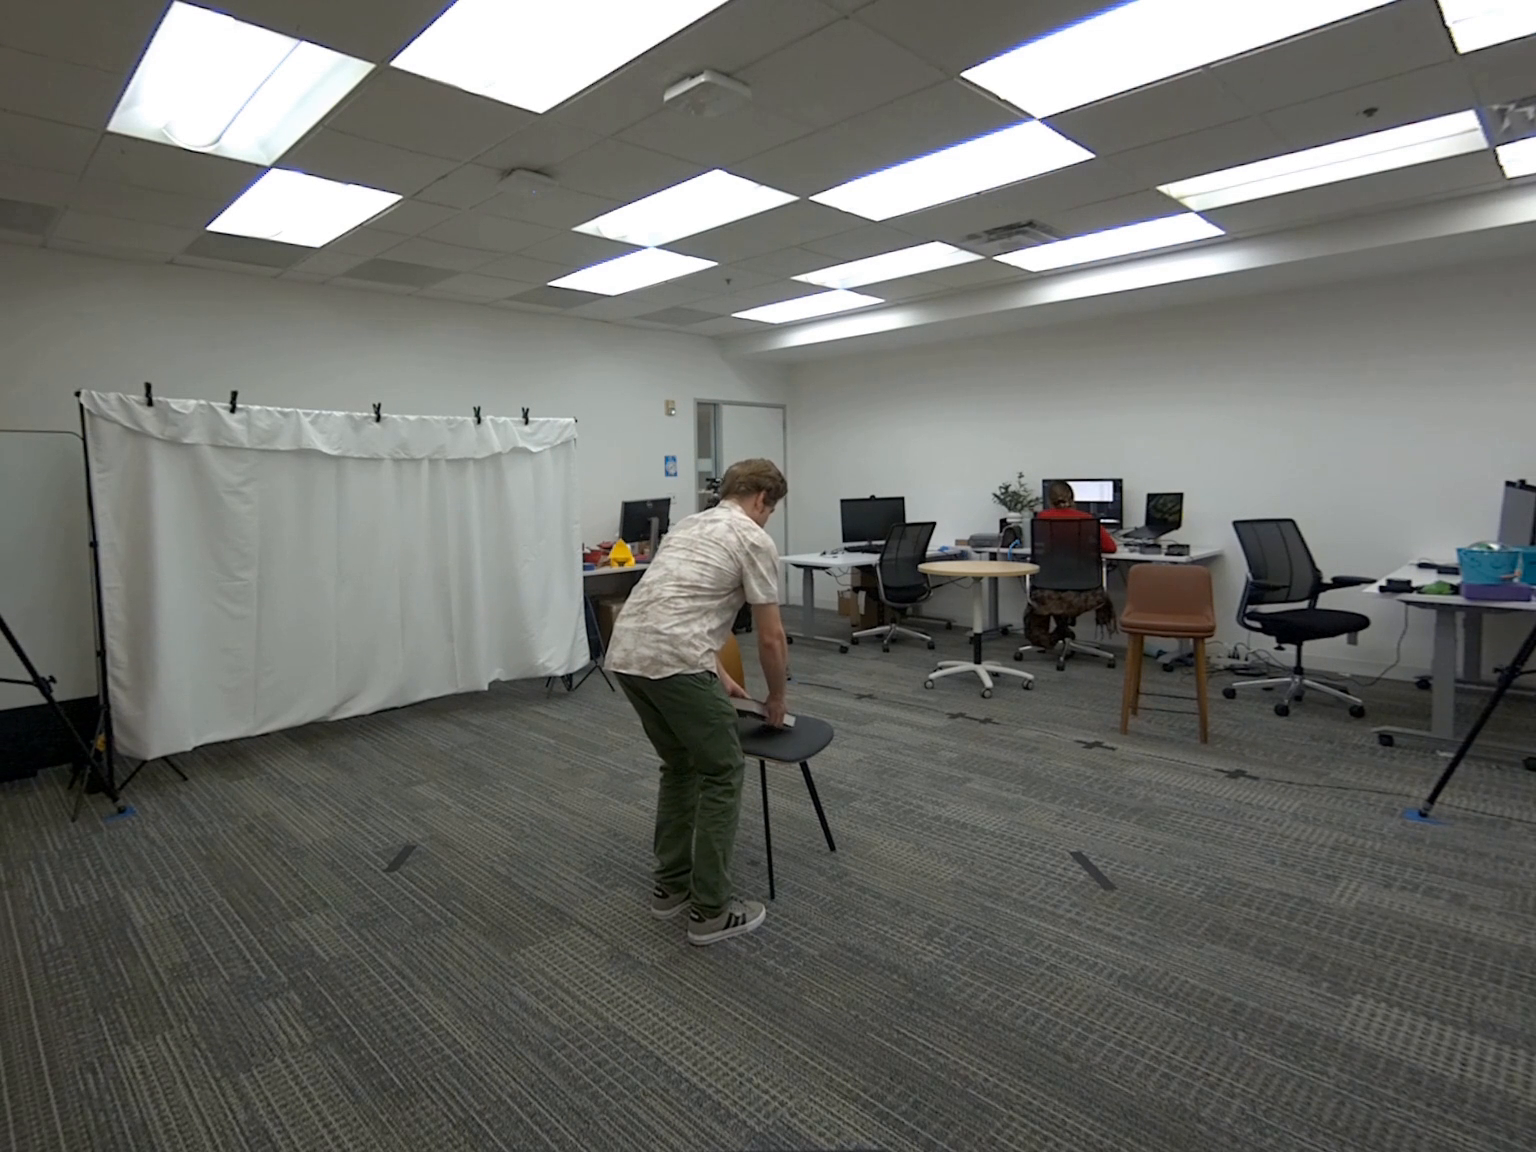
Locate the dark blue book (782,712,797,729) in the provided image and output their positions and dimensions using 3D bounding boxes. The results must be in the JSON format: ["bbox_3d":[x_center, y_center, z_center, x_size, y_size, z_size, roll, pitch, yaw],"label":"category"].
[{"bbox_3d":[-0.031,0.485,3.066,0.168,0.045,0.236,3,-16,43],"label":"dark blue book"}]
